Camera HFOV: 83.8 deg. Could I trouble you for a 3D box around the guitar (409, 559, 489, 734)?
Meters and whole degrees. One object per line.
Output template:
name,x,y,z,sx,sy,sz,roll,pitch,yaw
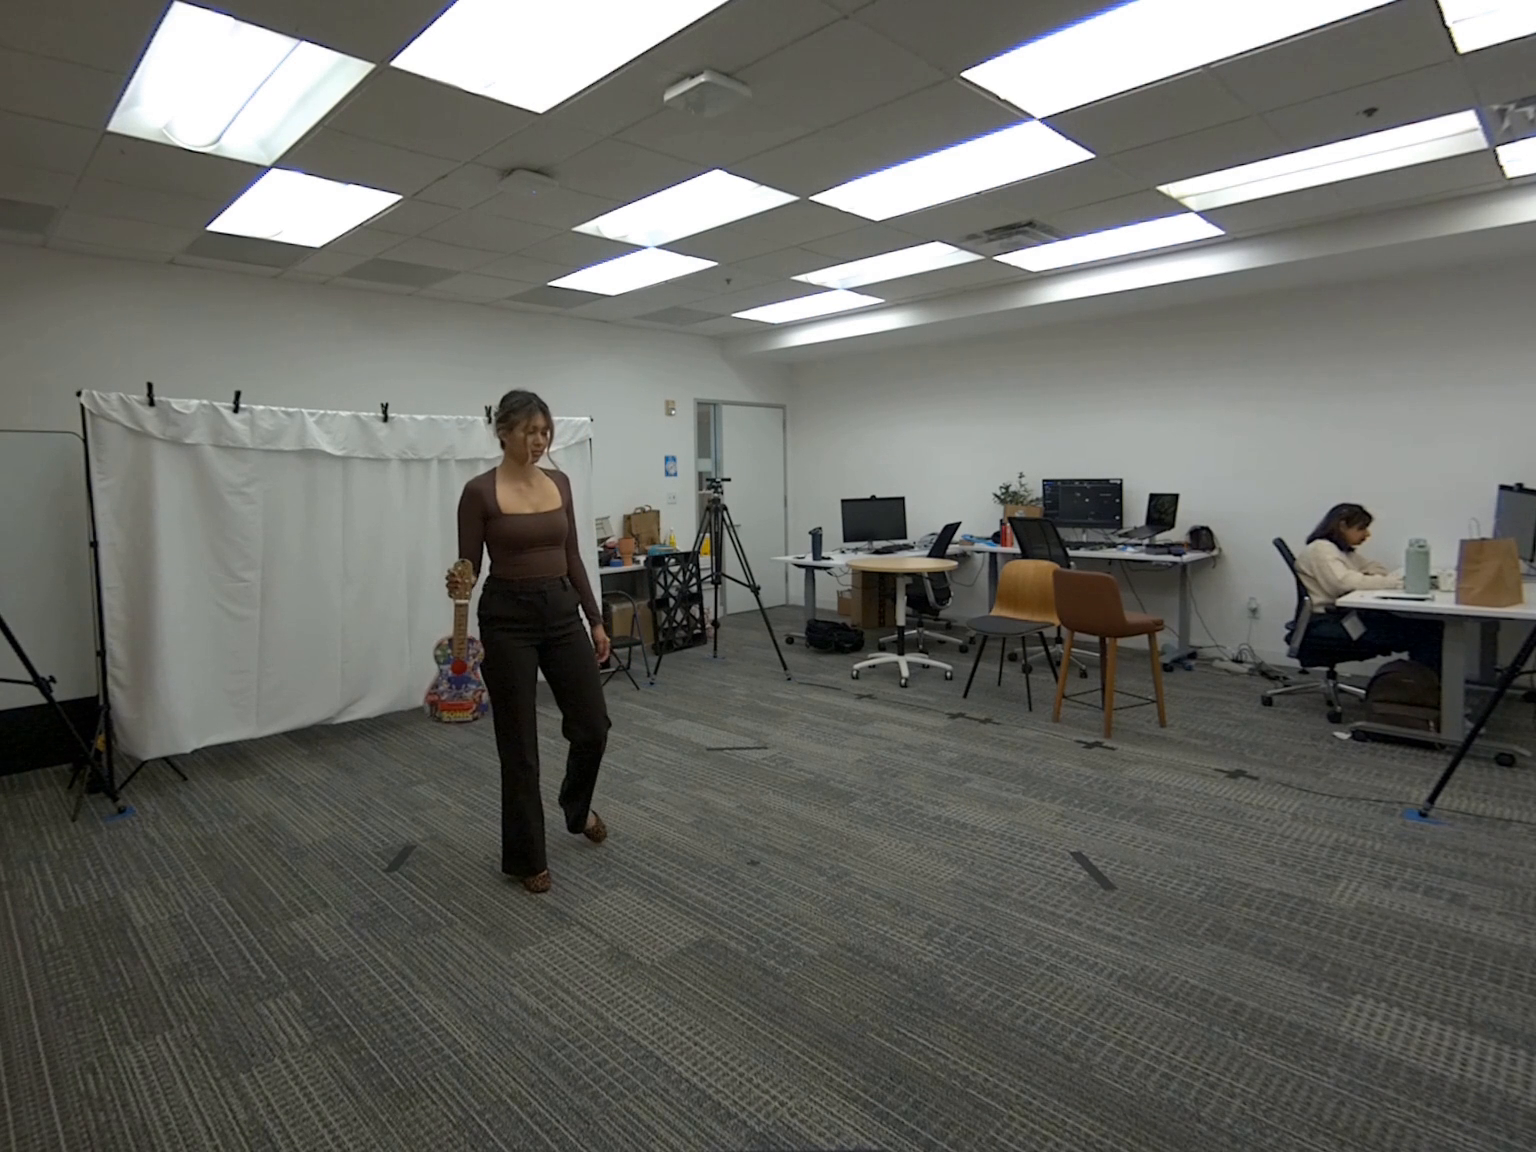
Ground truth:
guitar,-0.940,0.214,2.628,0.189,0.498,0.072,14,-2,-18
